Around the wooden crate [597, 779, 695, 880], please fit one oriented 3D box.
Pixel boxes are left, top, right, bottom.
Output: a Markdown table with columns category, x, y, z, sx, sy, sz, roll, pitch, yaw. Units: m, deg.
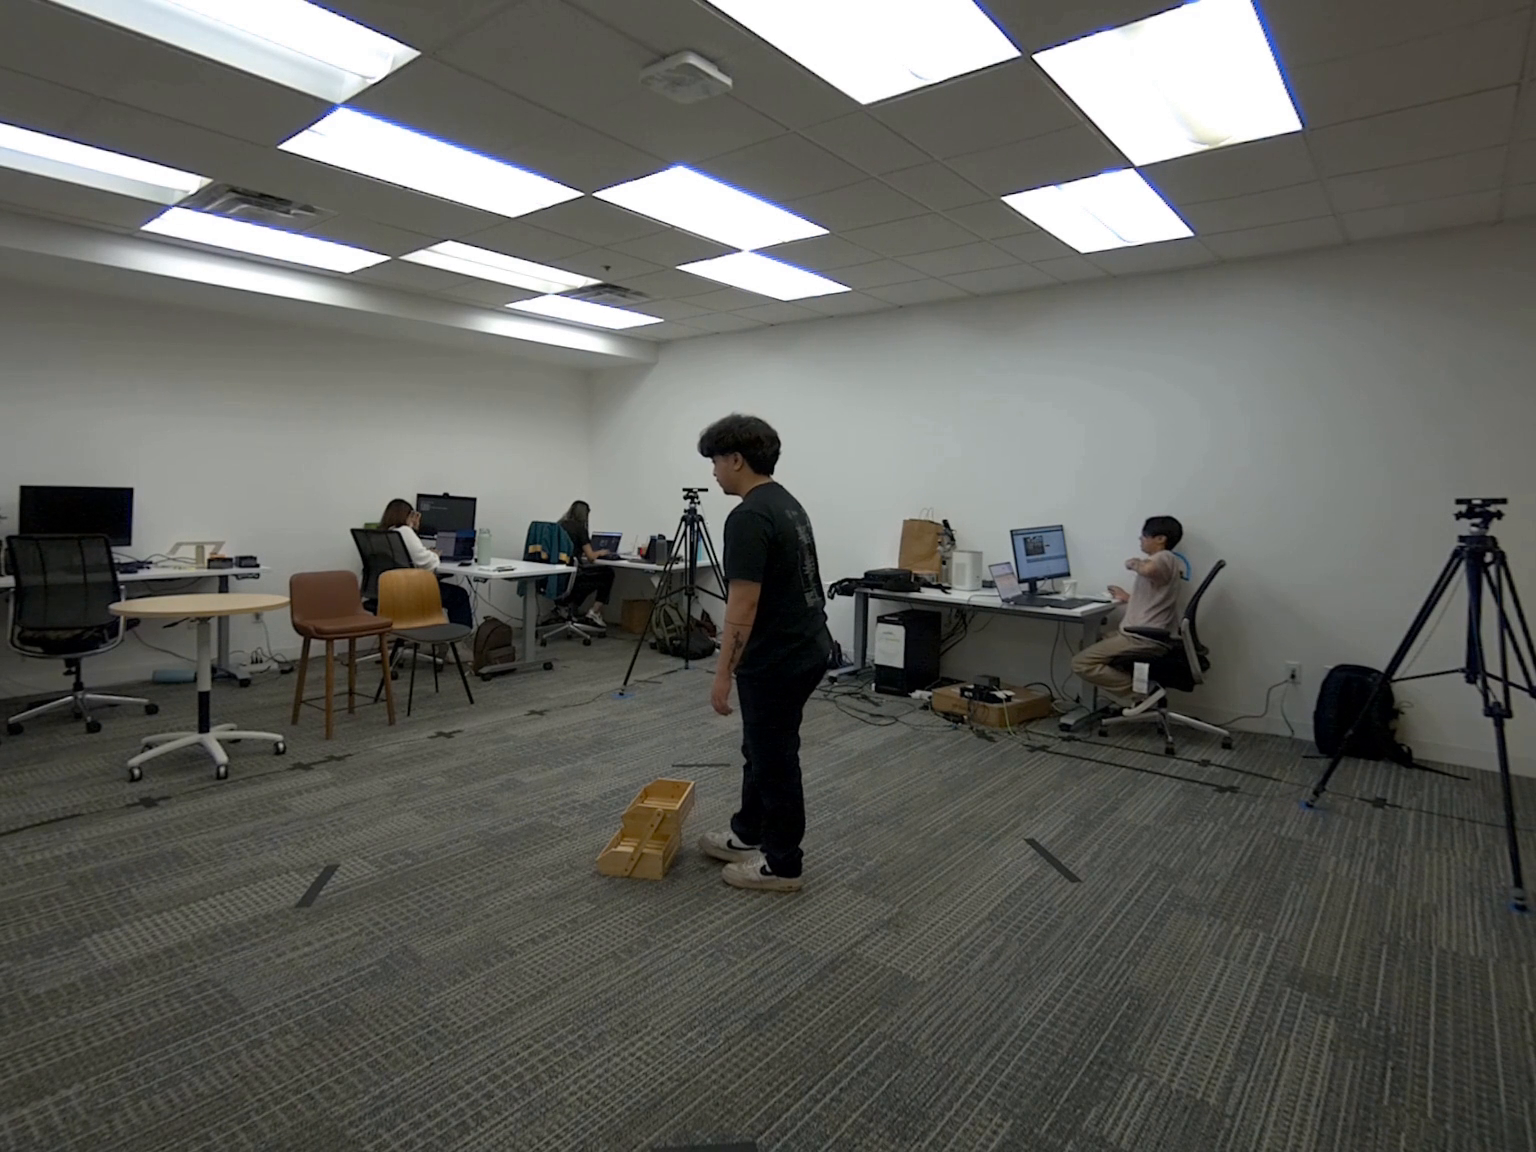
| category | x | y | z | sx | sy | sz | roll | pitch | yaw |
| --- | --- | --- | --- | --- | --- | --- | --- | --- | --- |
| wooden crate | -0.468 | 0.929 | 3.175 | 0.305 | 0.272 | 0.322 | 2 | 4 | 8 |
